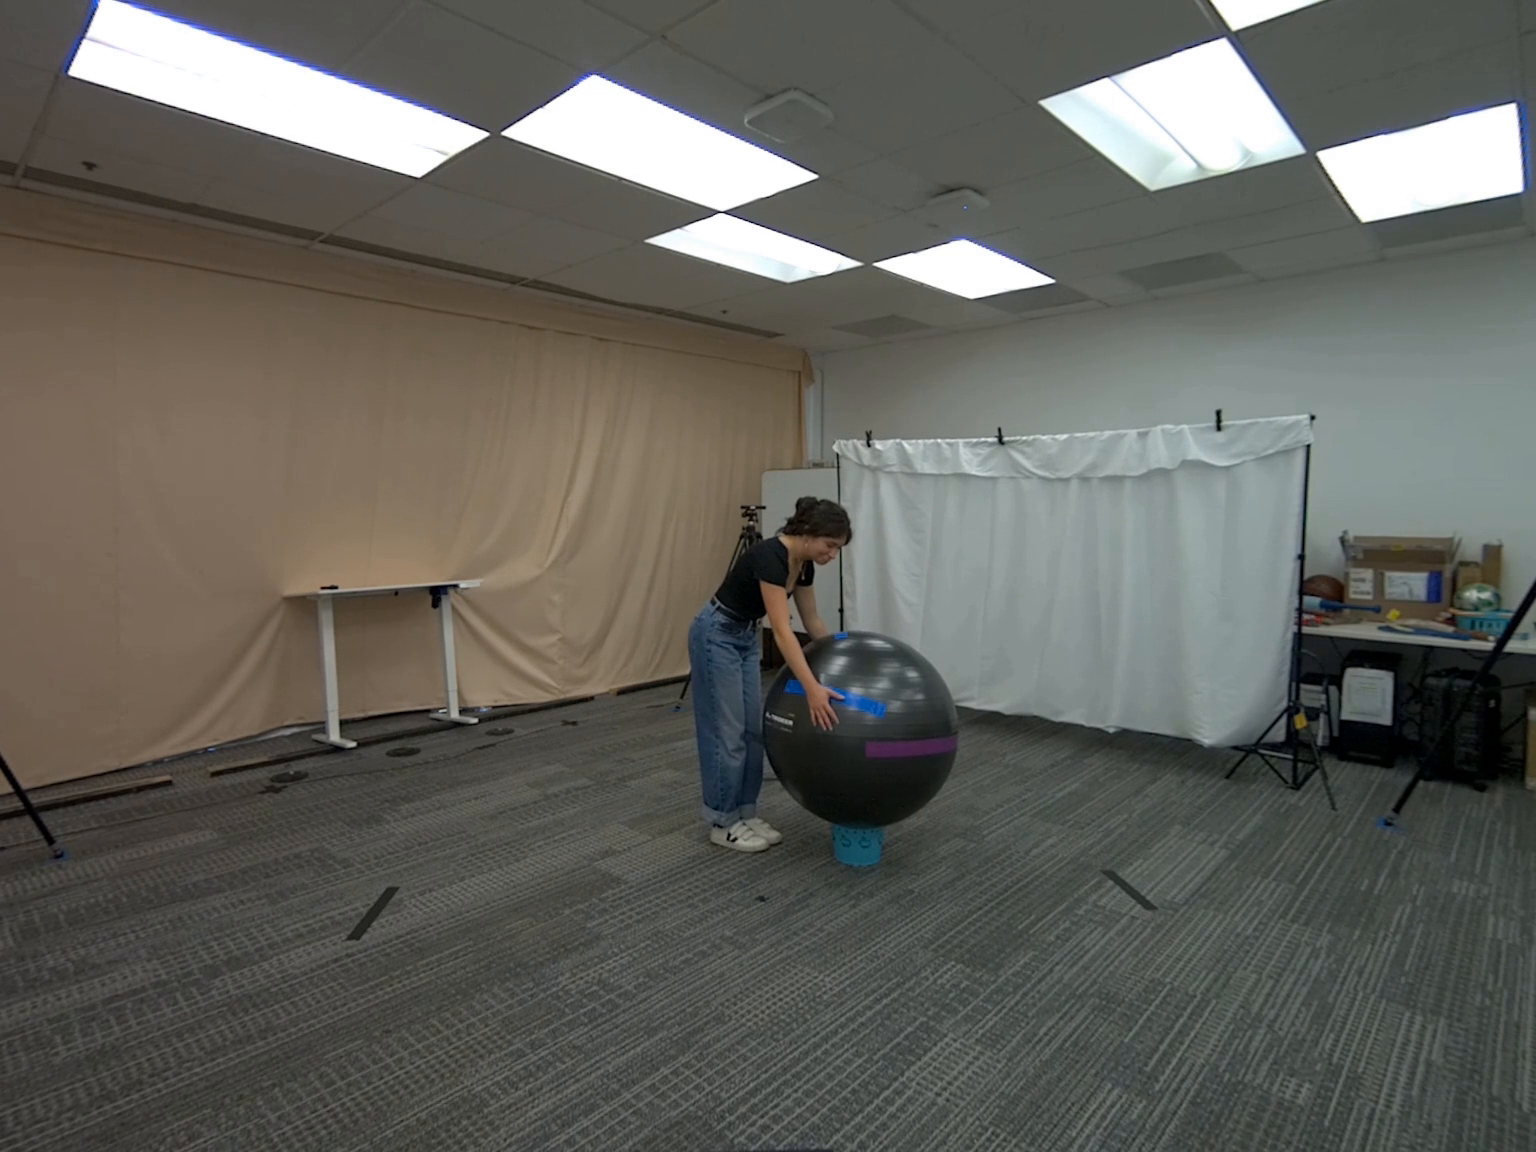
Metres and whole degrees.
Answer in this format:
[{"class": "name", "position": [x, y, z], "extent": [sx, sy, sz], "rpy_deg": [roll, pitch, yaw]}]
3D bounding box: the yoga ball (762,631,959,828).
[{"class": "yoga ball", "position": [0.358, 0.598, 3.332], "extent": [0.757, 0.756, 0.760], "rpy_deg": [0, 4, -2]}]
